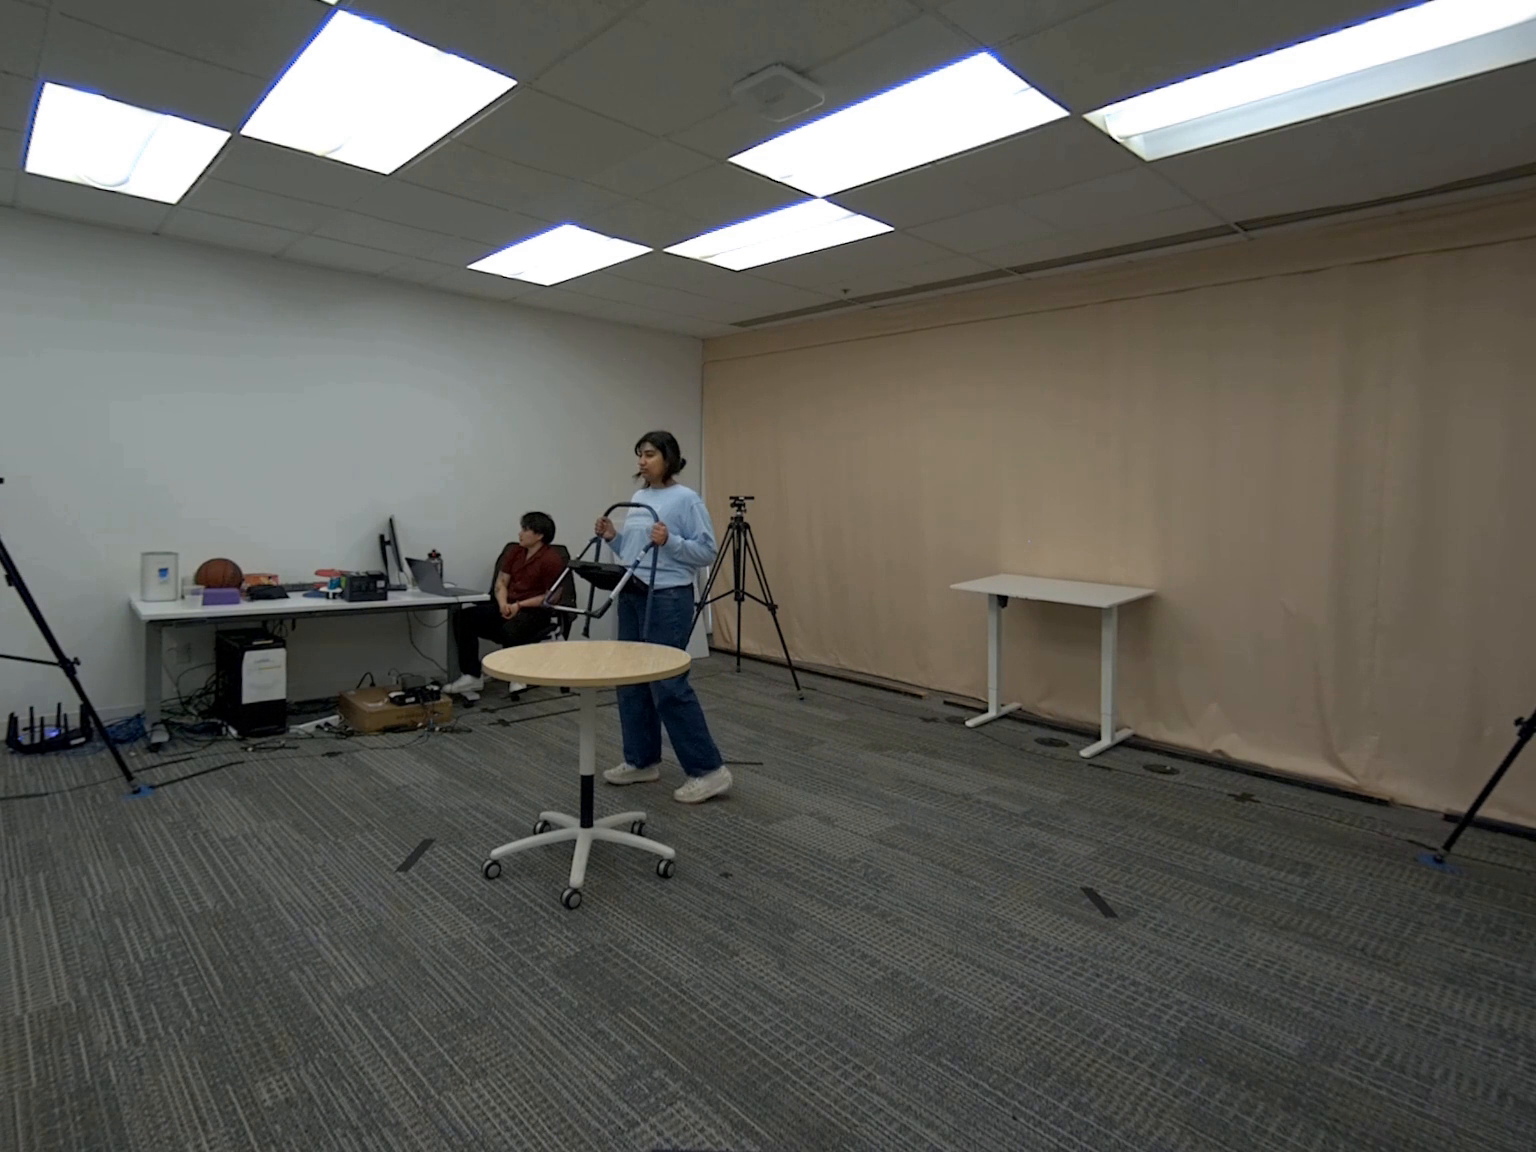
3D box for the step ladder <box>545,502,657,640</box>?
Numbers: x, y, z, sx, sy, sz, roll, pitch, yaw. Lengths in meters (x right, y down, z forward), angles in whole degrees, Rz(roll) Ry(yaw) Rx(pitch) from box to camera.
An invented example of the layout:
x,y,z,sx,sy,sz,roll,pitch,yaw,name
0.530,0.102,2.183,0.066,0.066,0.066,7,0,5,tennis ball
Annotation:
x,y,z,sx,sy,sz,roll,pitch,yaw,name
-0.700,-0.037,3.871,0.441,0.611,0.338,5,-25,38,step ladder
